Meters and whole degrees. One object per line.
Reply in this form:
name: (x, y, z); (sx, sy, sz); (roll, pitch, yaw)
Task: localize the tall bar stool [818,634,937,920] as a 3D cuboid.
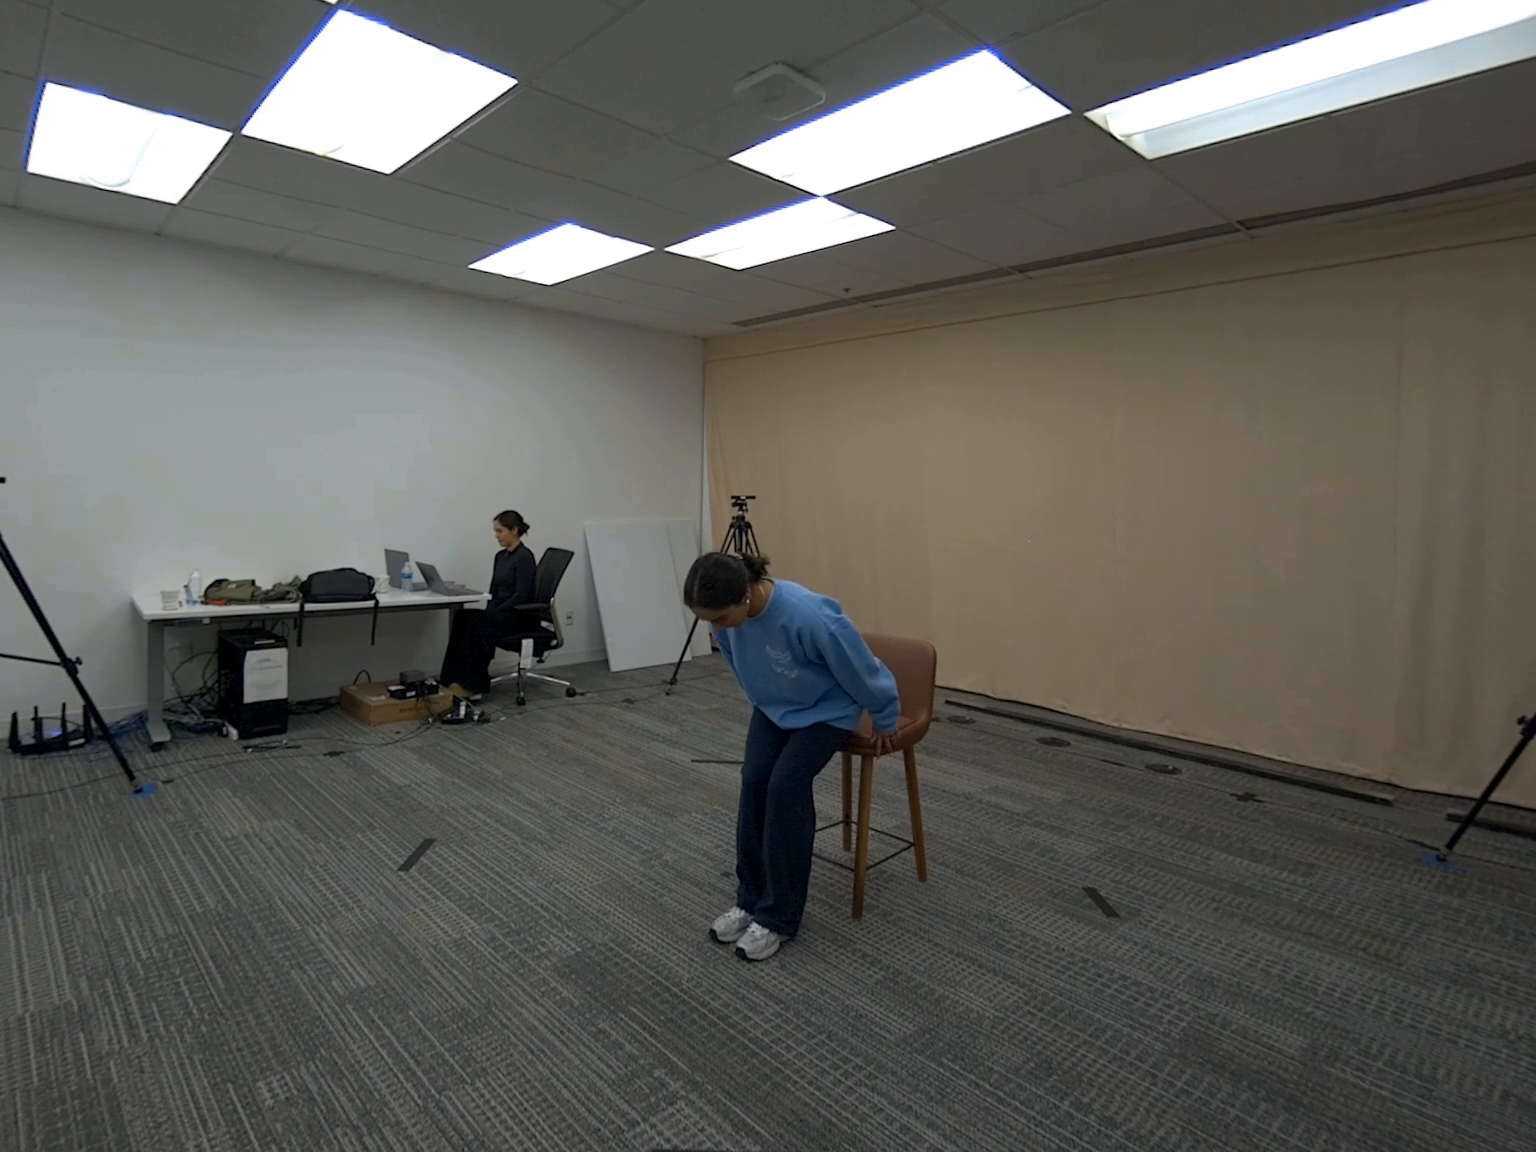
tall bar stool: (0.316, 0.680, 3.054); (0.468, 0.888, 0.456); (4, 3, 44)
